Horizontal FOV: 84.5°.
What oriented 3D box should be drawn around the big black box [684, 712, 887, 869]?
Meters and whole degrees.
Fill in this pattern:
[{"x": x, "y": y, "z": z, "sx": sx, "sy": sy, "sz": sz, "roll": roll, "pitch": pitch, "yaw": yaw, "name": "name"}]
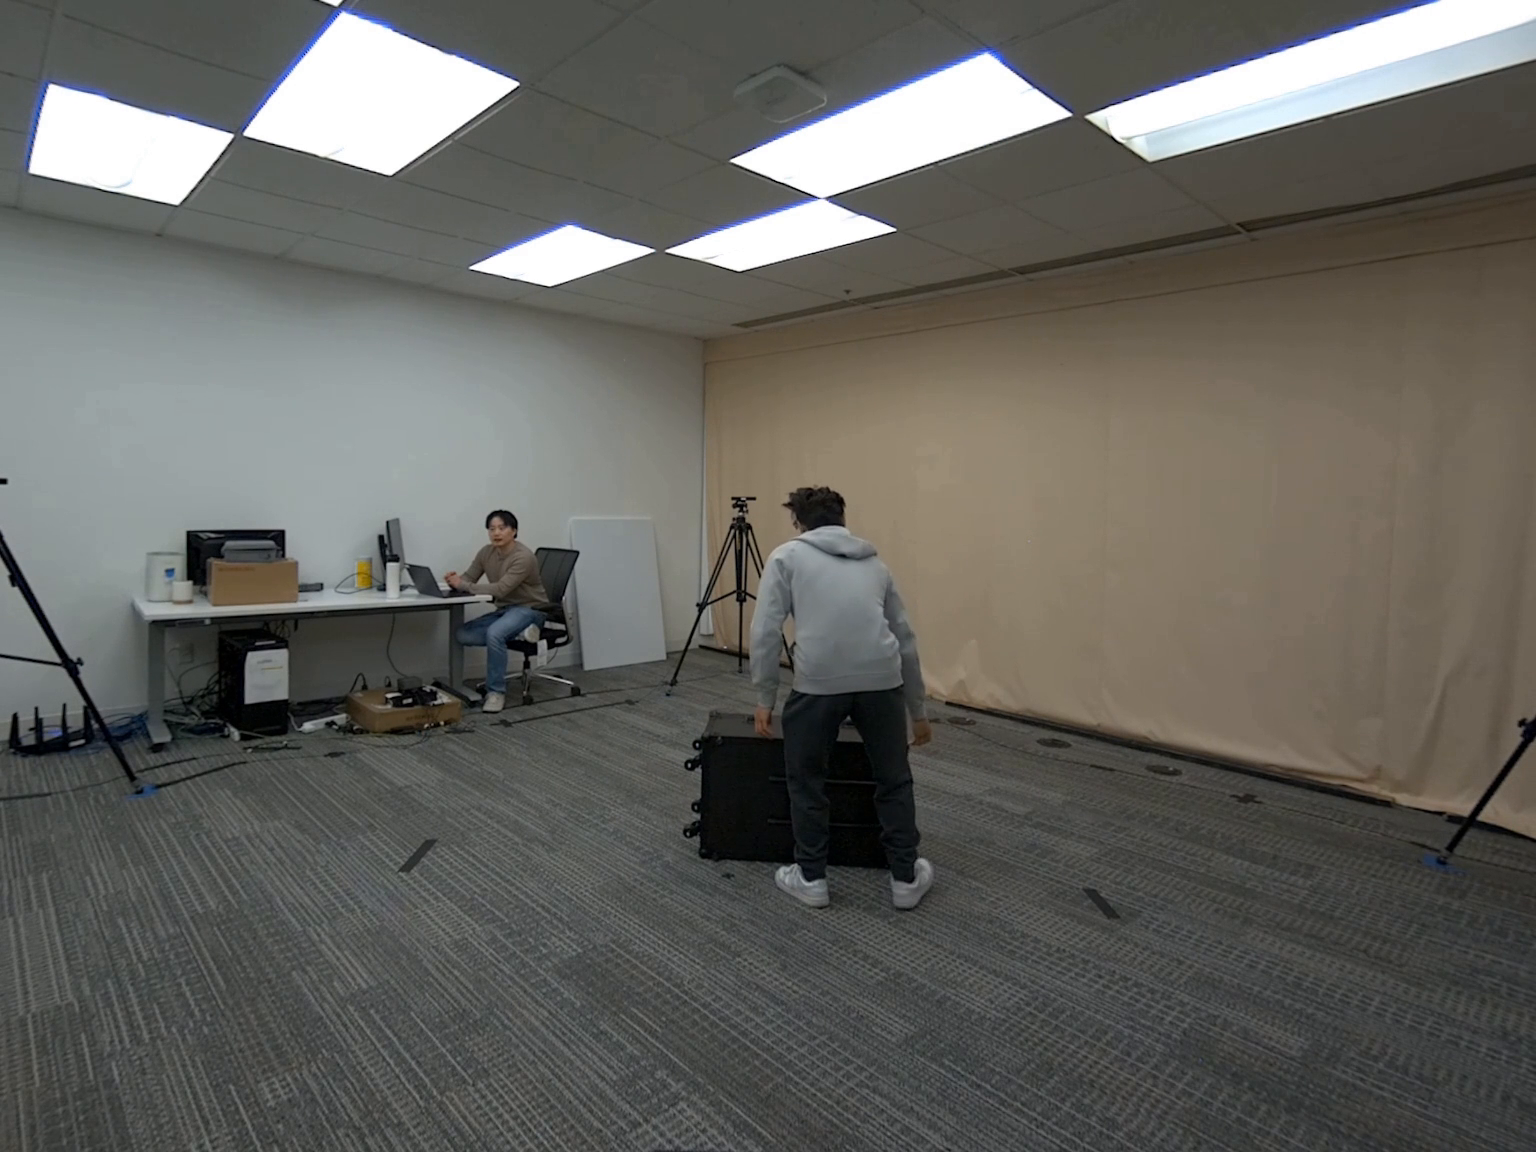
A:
[{"x": 0.096, "y": 0.843, "z": 3.370, "sx": 0.865, "sy": 0.520, "sz": 0.396, "roll": 2, "pitch": 4, "yaw": 5, "name": "big black box"}]
